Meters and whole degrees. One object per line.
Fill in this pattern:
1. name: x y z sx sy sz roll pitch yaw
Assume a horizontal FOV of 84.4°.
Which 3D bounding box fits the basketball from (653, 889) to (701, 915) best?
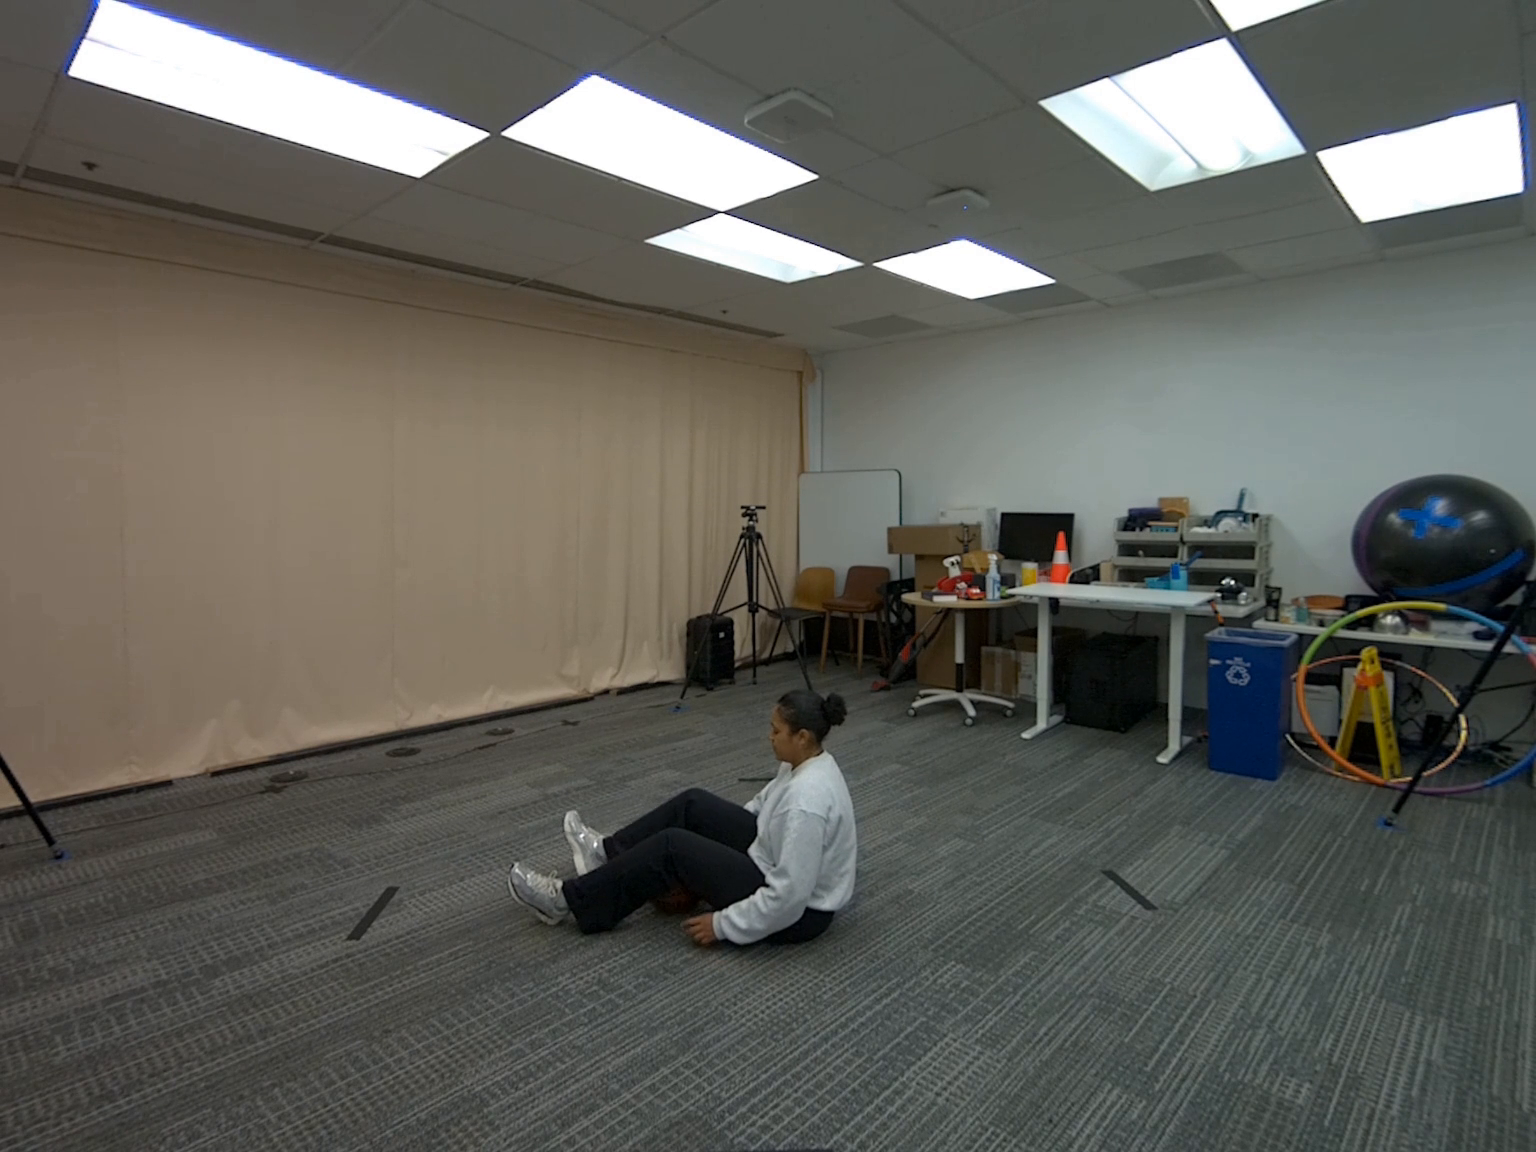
1. basketball: -0.314 1.029 2.916 0.236 0.235 0.237 0 4 -2
